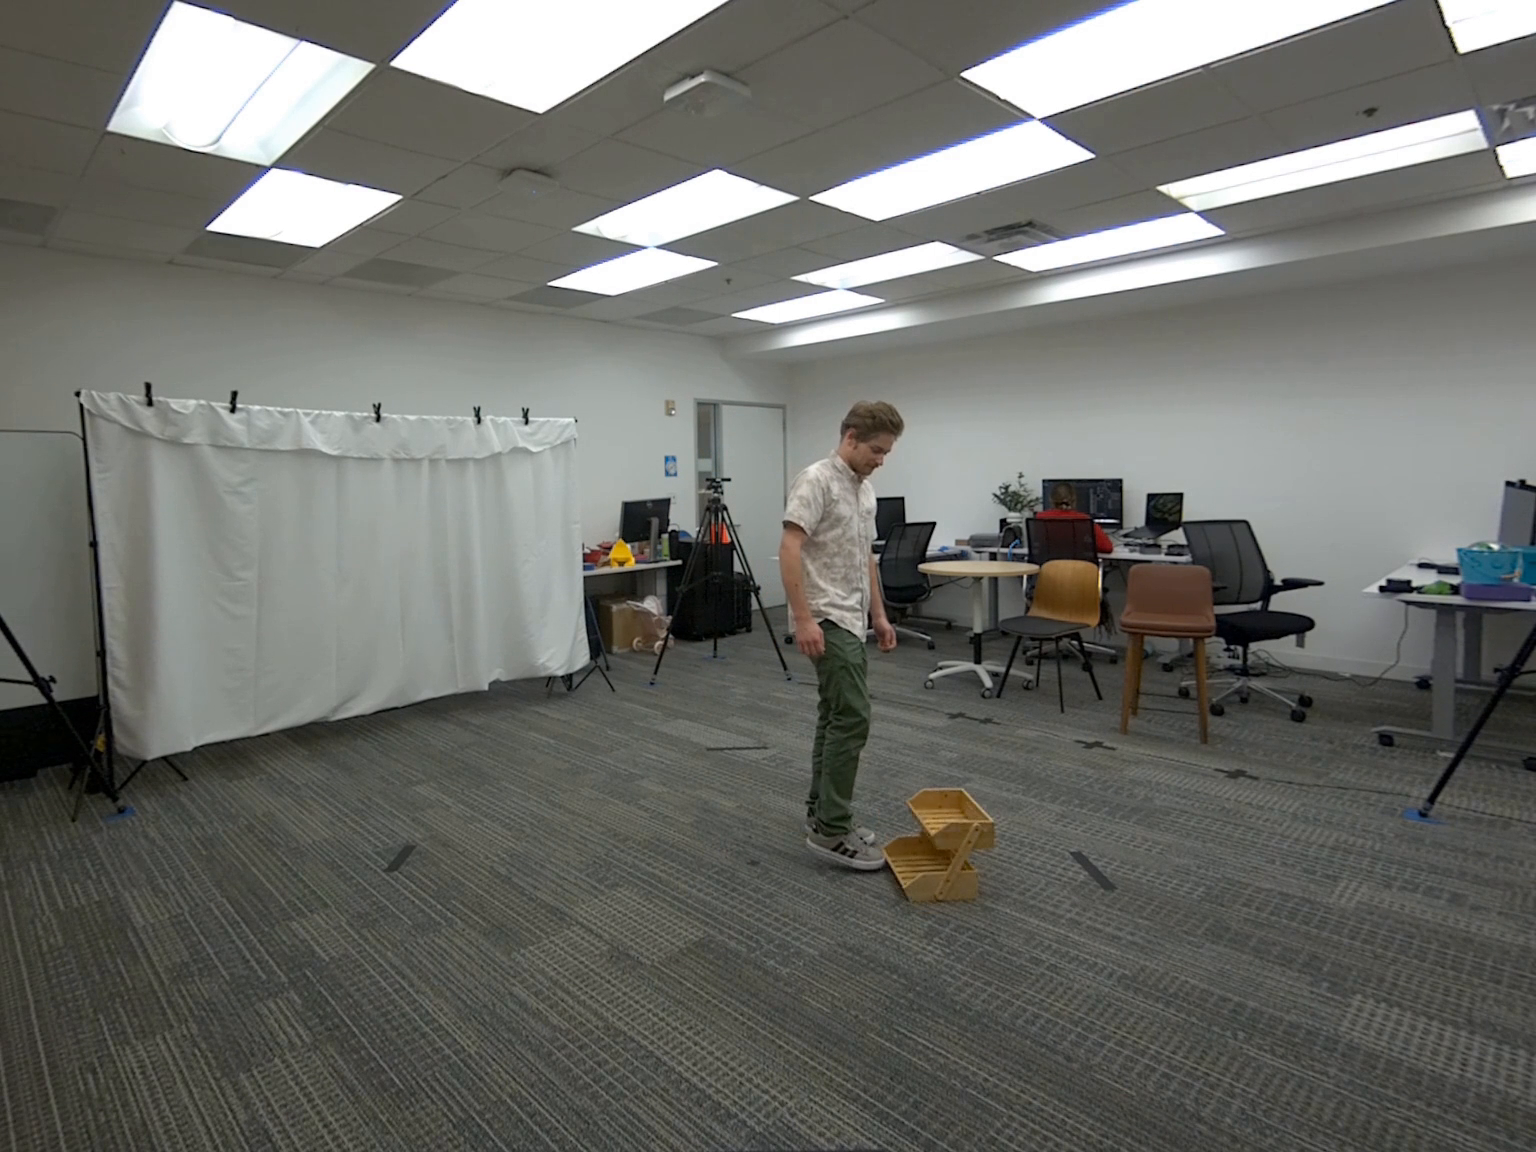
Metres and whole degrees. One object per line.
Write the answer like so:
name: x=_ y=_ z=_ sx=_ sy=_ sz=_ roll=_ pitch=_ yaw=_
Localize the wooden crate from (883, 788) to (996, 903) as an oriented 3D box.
wooden crate: x=0.578 y=0.916 z=2.943 sx=0.300 sy=0.272 sz=0.328 roll=-1 pitch=6 yaw=-7
